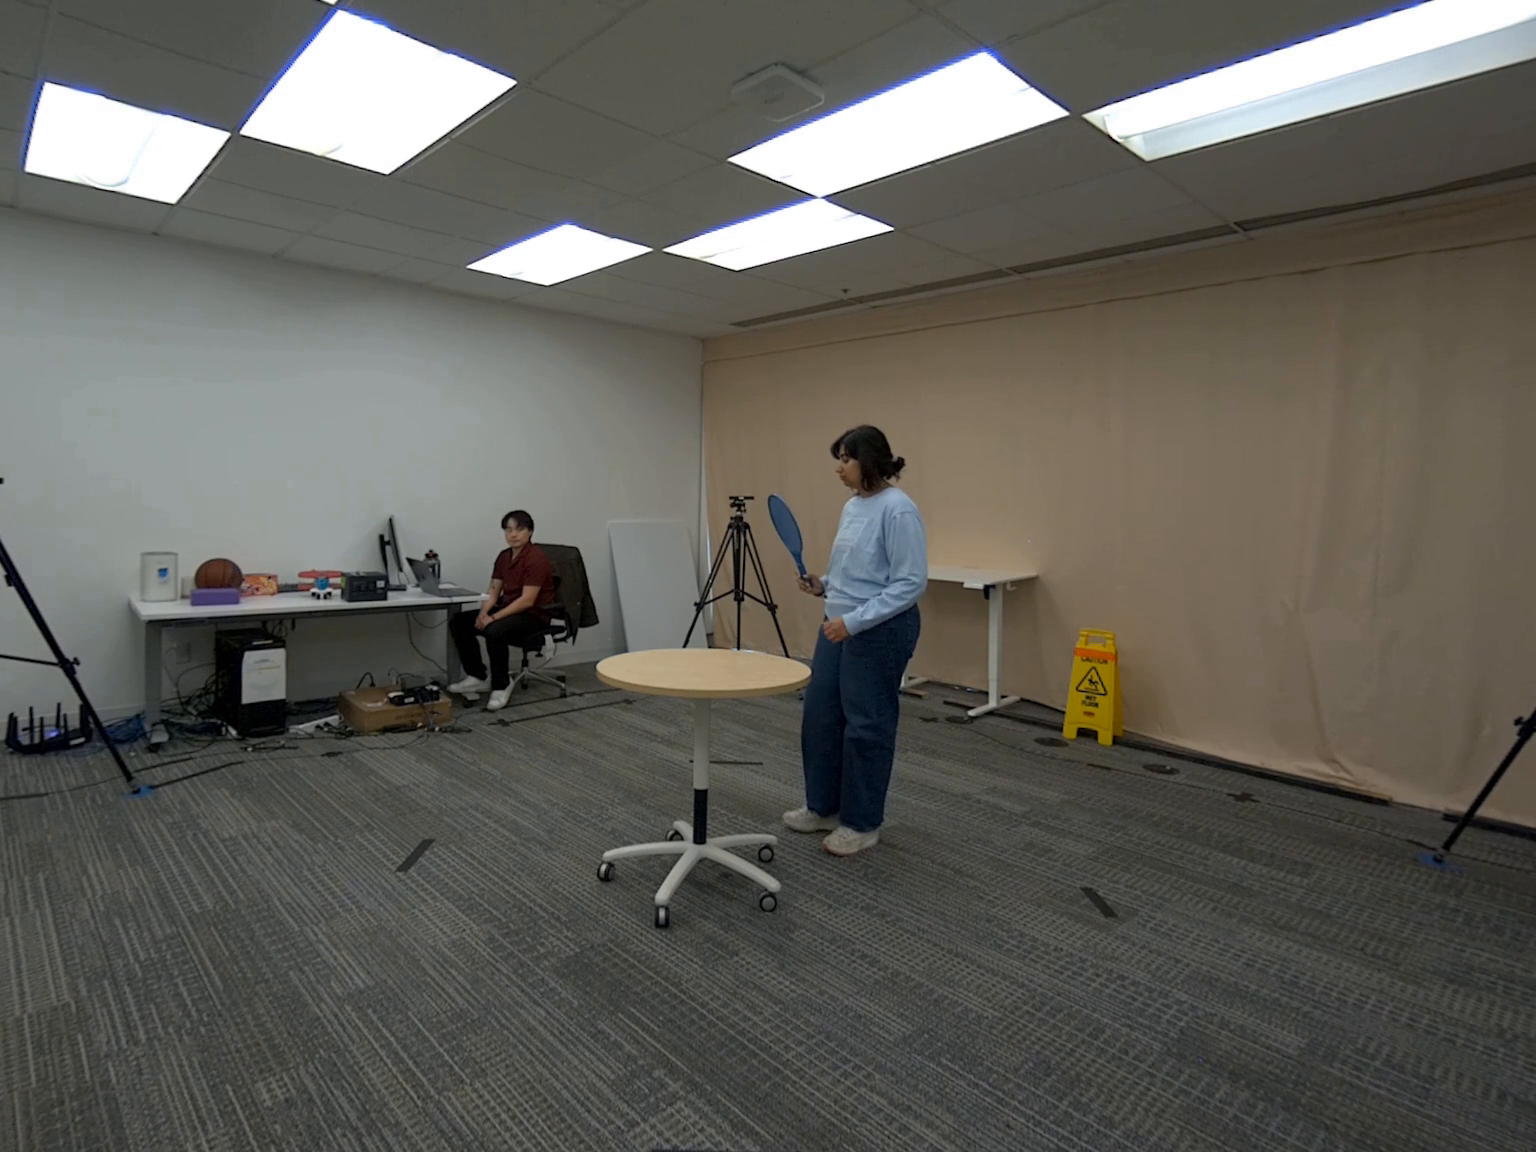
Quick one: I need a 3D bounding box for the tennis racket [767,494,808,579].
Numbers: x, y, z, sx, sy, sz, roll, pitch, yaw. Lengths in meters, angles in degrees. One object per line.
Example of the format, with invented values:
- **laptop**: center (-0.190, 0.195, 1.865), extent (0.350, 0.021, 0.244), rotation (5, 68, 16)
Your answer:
- **tennis racket**: center (0.098, -0.131, 3.361), extent (0.031, 0.426, 0.218), rotation (-28, 17, -18)
